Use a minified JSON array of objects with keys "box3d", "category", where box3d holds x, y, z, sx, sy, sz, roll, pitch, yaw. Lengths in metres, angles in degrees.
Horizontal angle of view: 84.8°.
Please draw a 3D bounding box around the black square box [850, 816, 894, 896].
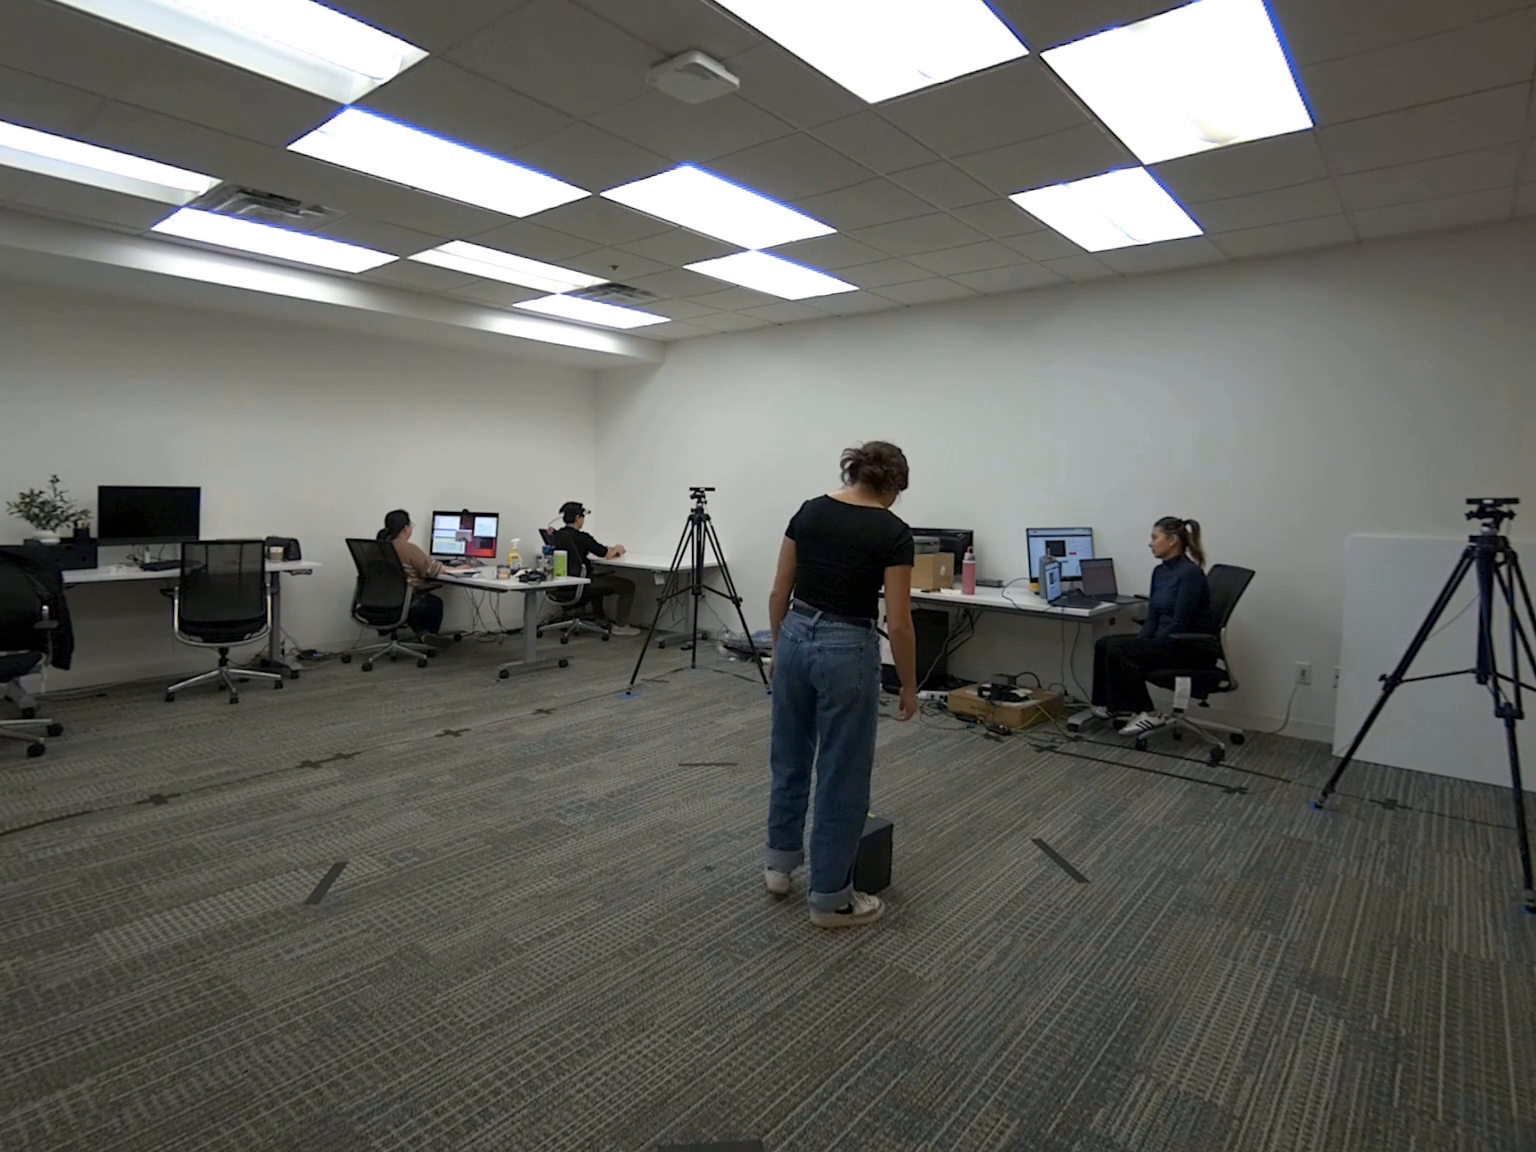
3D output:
[{"box3d":[0.306,0.973,2.983,0.161,0.227,0.210,6,5,43],"category":"black square box"}]
